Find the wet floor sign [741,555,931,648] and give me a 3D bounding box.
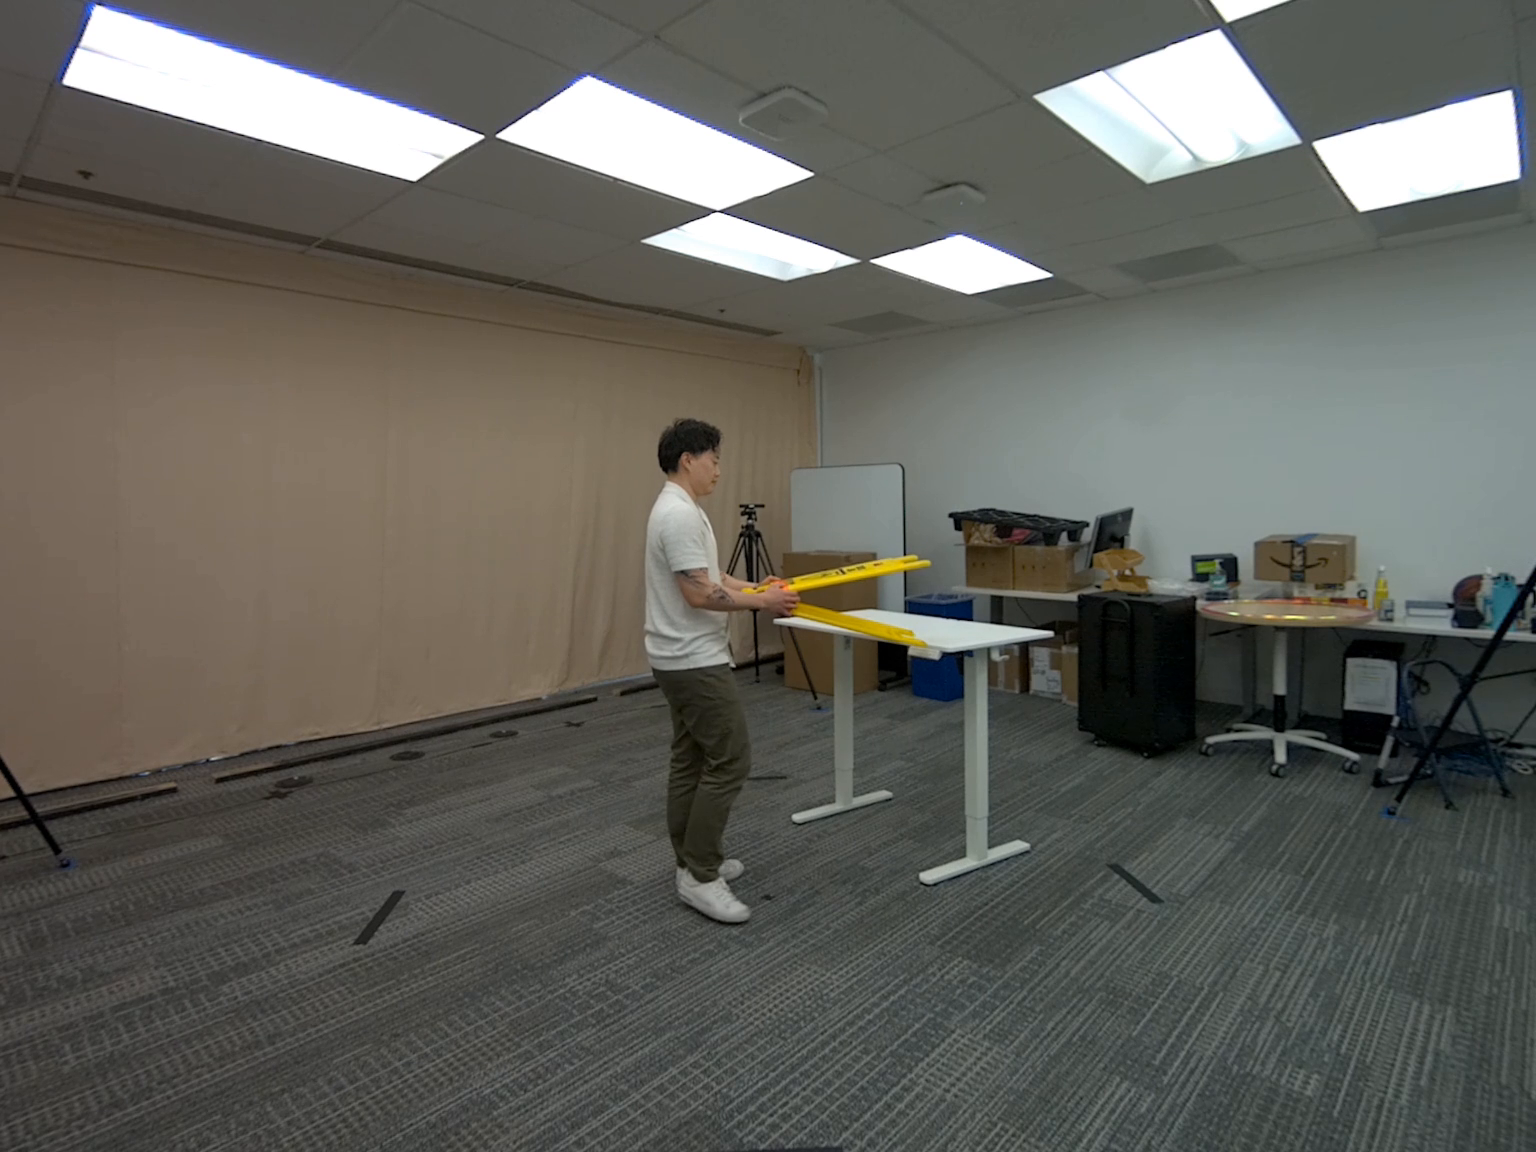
[{"bbox_3d":[0.223,0.078,3.020,0.651,0.289,0.281,2,6,7],"label":"wet floor sign"}]
